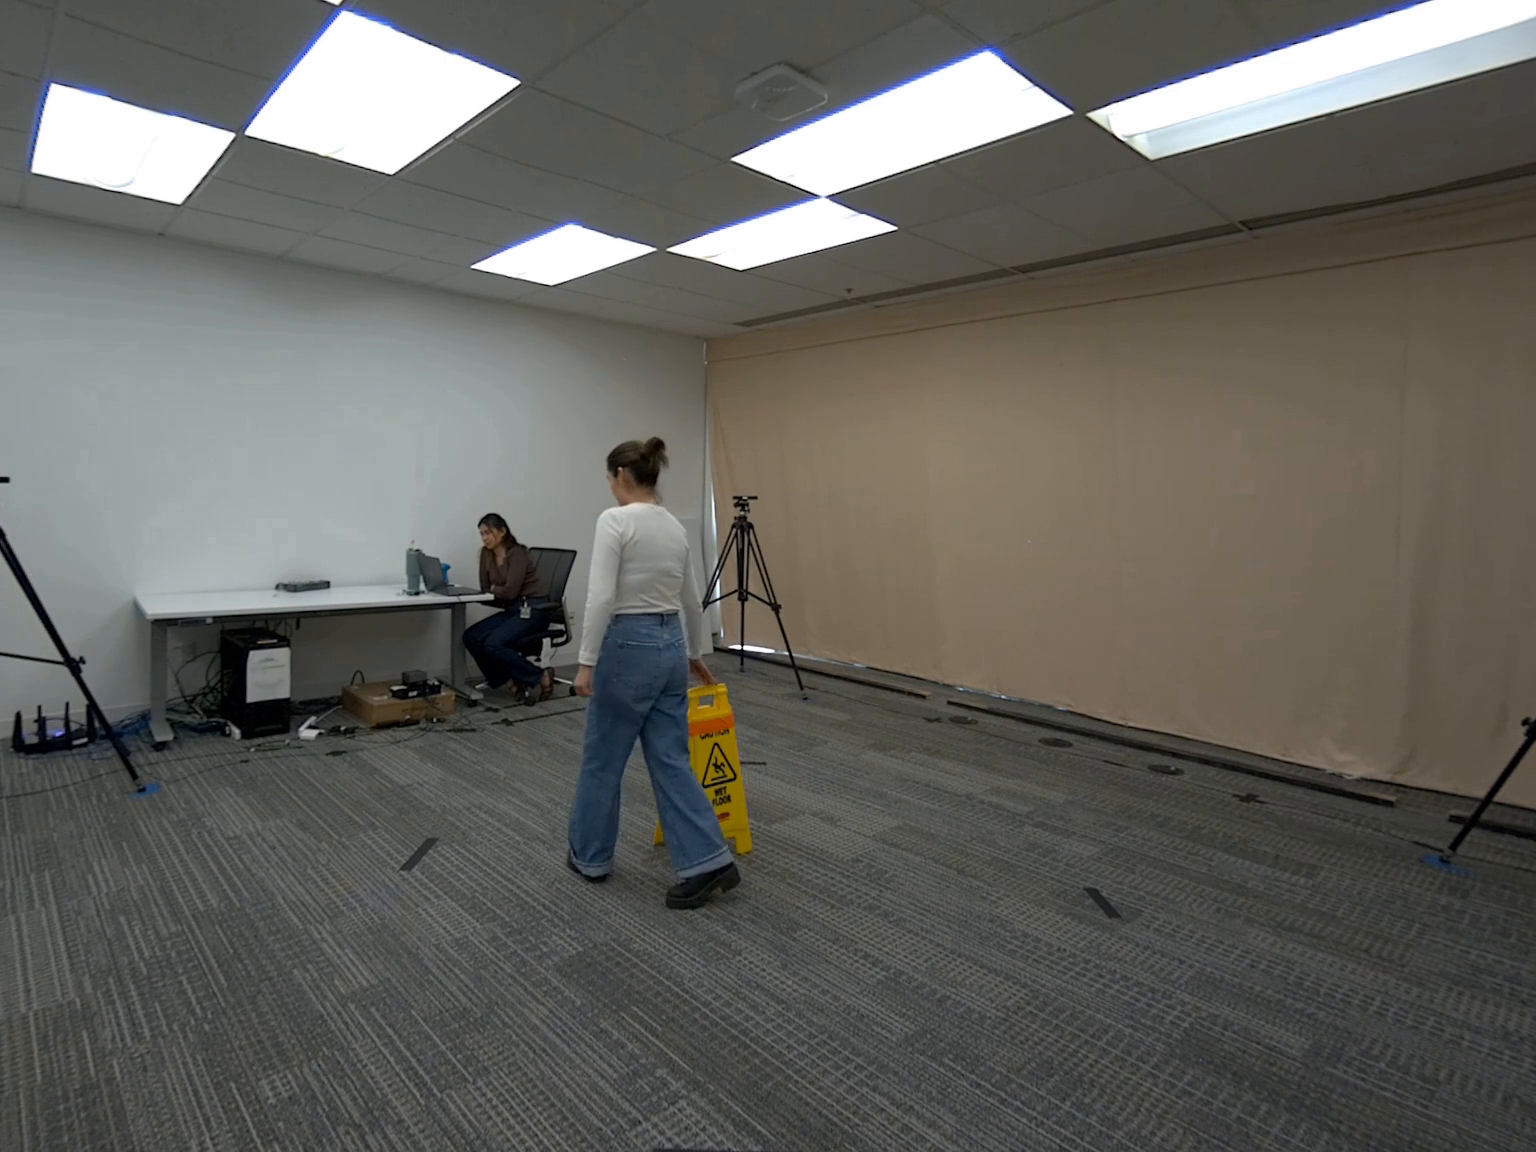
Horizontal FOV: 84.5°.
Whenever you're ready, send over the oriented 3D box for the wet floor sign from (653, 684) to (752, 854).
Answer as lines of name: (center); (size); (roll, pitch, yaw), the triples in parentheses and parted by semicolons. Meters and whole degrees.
wet floor sign: (-0.260, 0.757, 3.326); (0.276, 0.645, 0.297); (-1, 4, -44)
